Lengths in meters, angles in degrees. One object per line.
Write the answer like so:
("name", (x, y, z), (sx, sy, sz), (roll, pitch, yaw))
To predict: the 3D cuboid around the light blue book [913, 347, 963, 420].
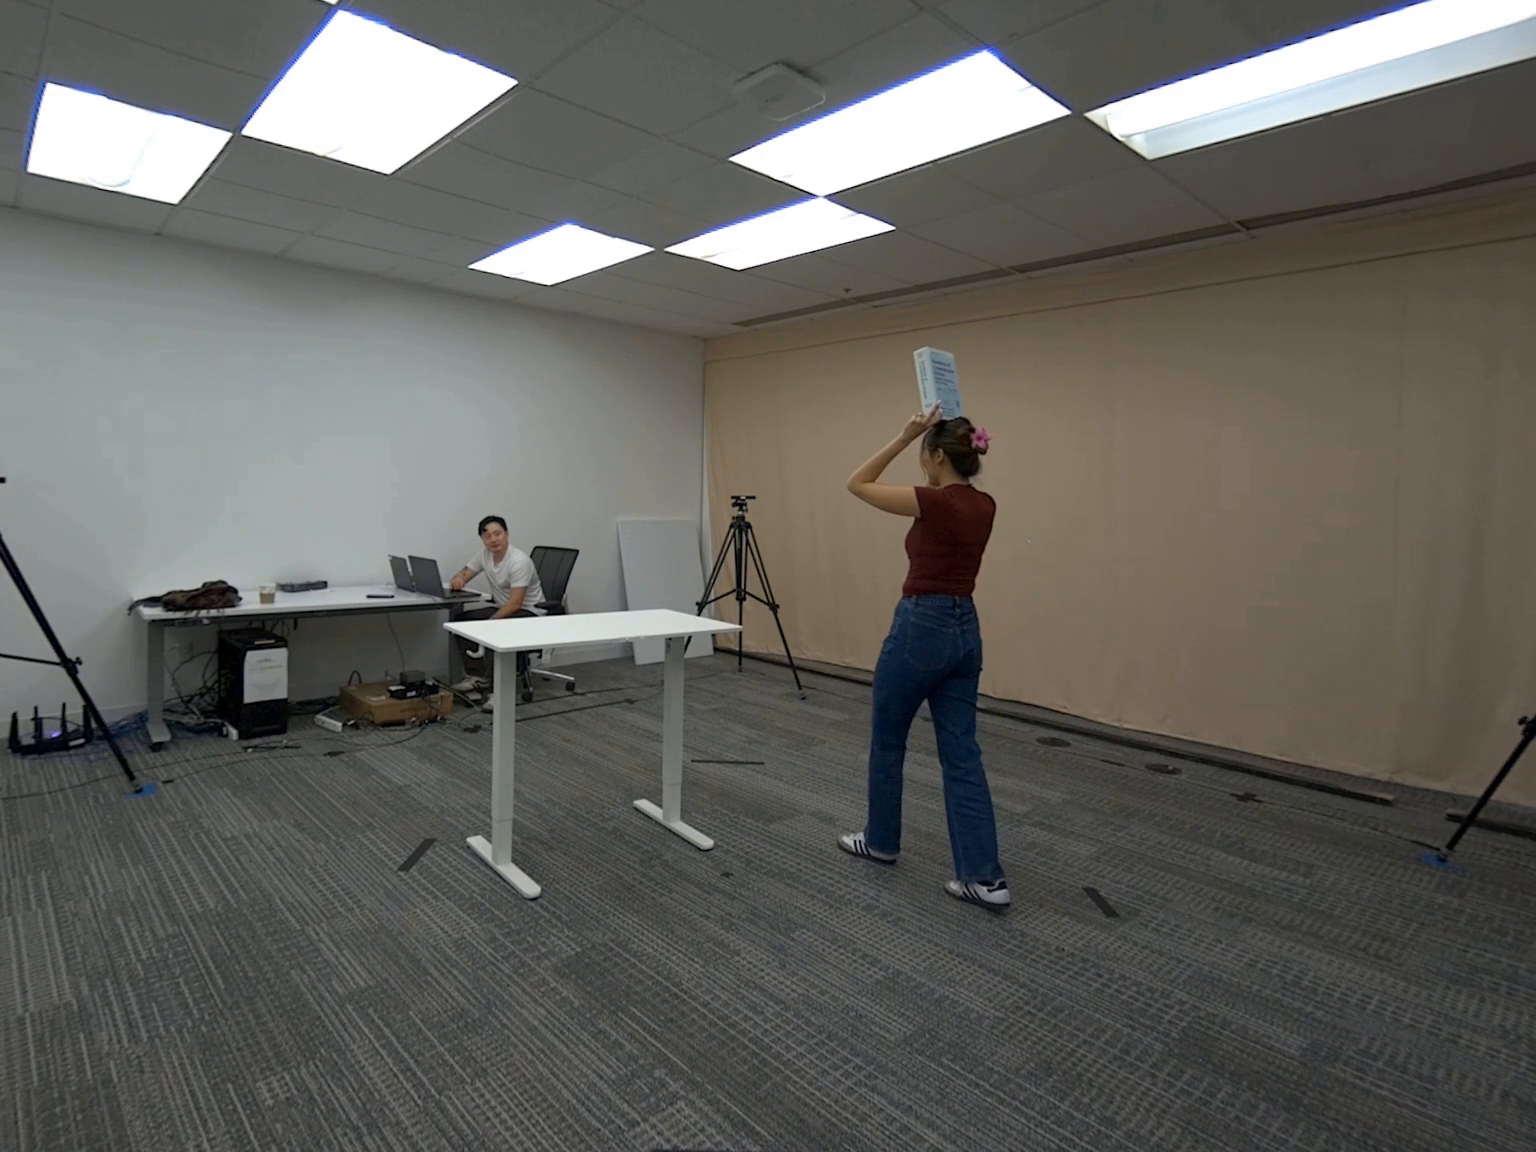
("light blue book", (0.612, -0.678, 3.028), (0.060, 0.262, 0.187), (-12, -6, 42))
